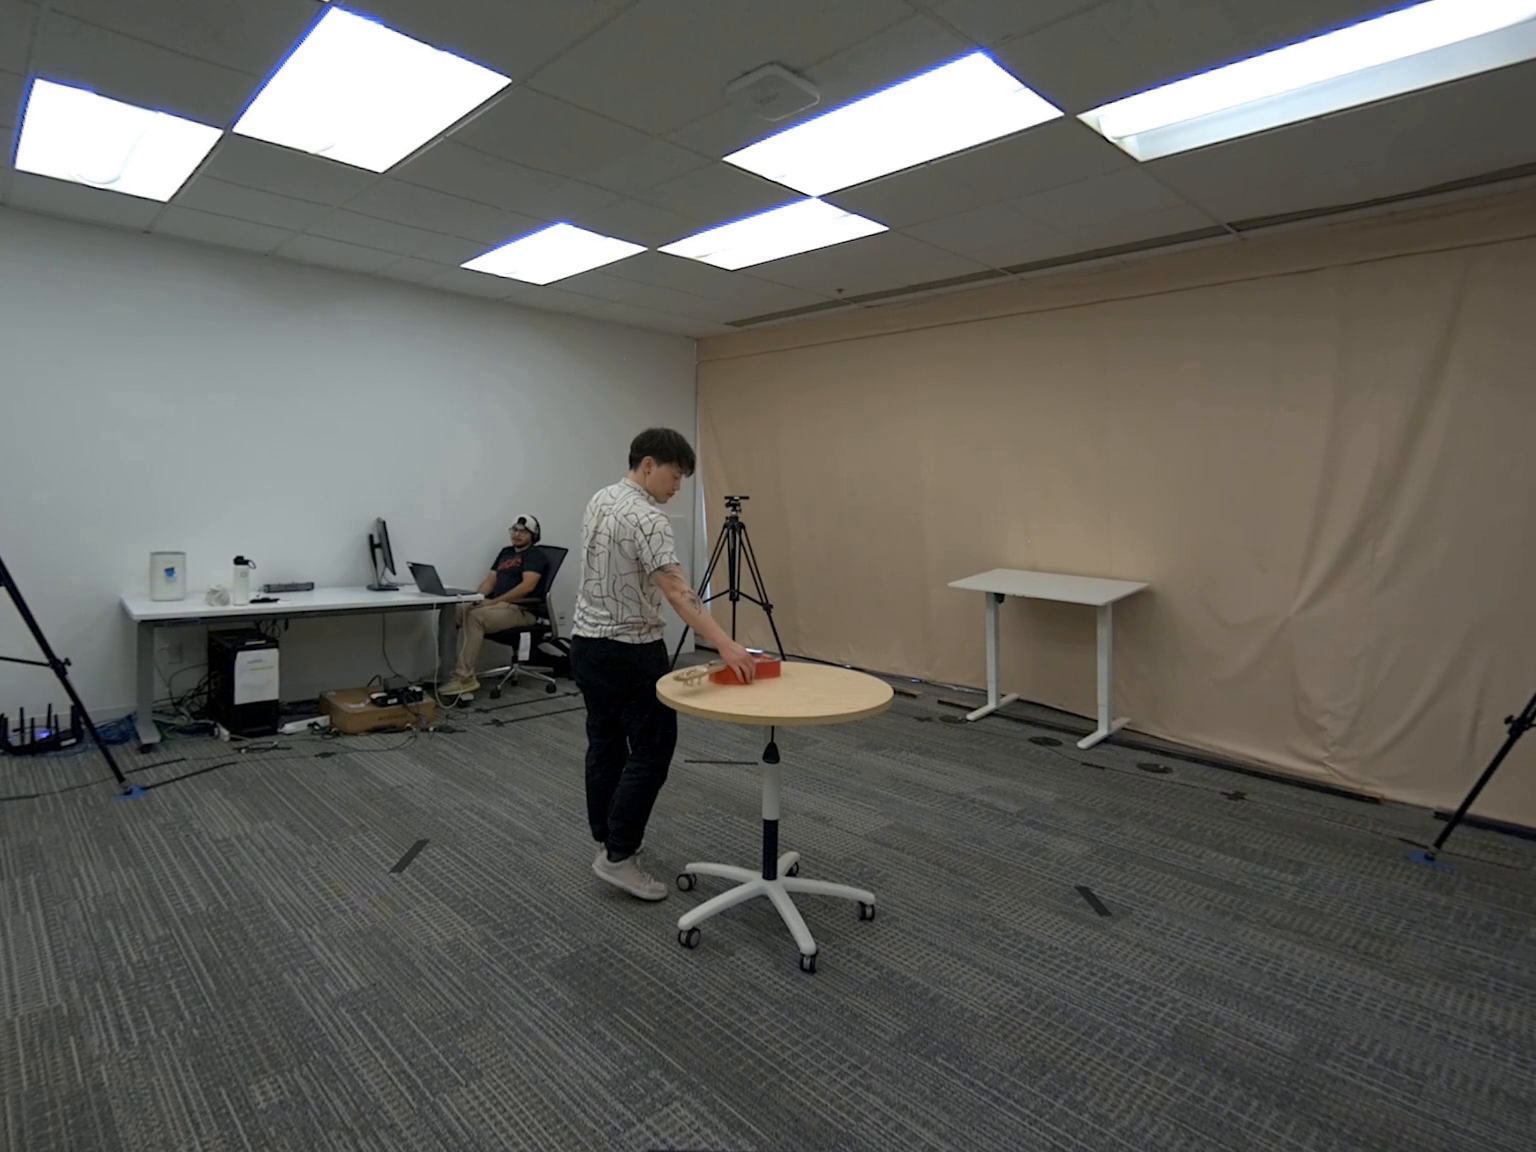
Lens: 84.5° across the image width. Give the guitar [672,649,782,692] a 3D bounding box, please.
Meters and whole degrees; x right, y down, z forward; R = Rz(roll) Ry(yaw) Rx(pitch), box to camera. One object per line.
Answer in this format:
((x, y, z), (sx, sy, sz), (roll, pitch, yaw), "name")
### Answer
((-0.171, 0.317, 2.783), (0.198, 0.070, 0.487), (6, 7, 40), "guitar")
